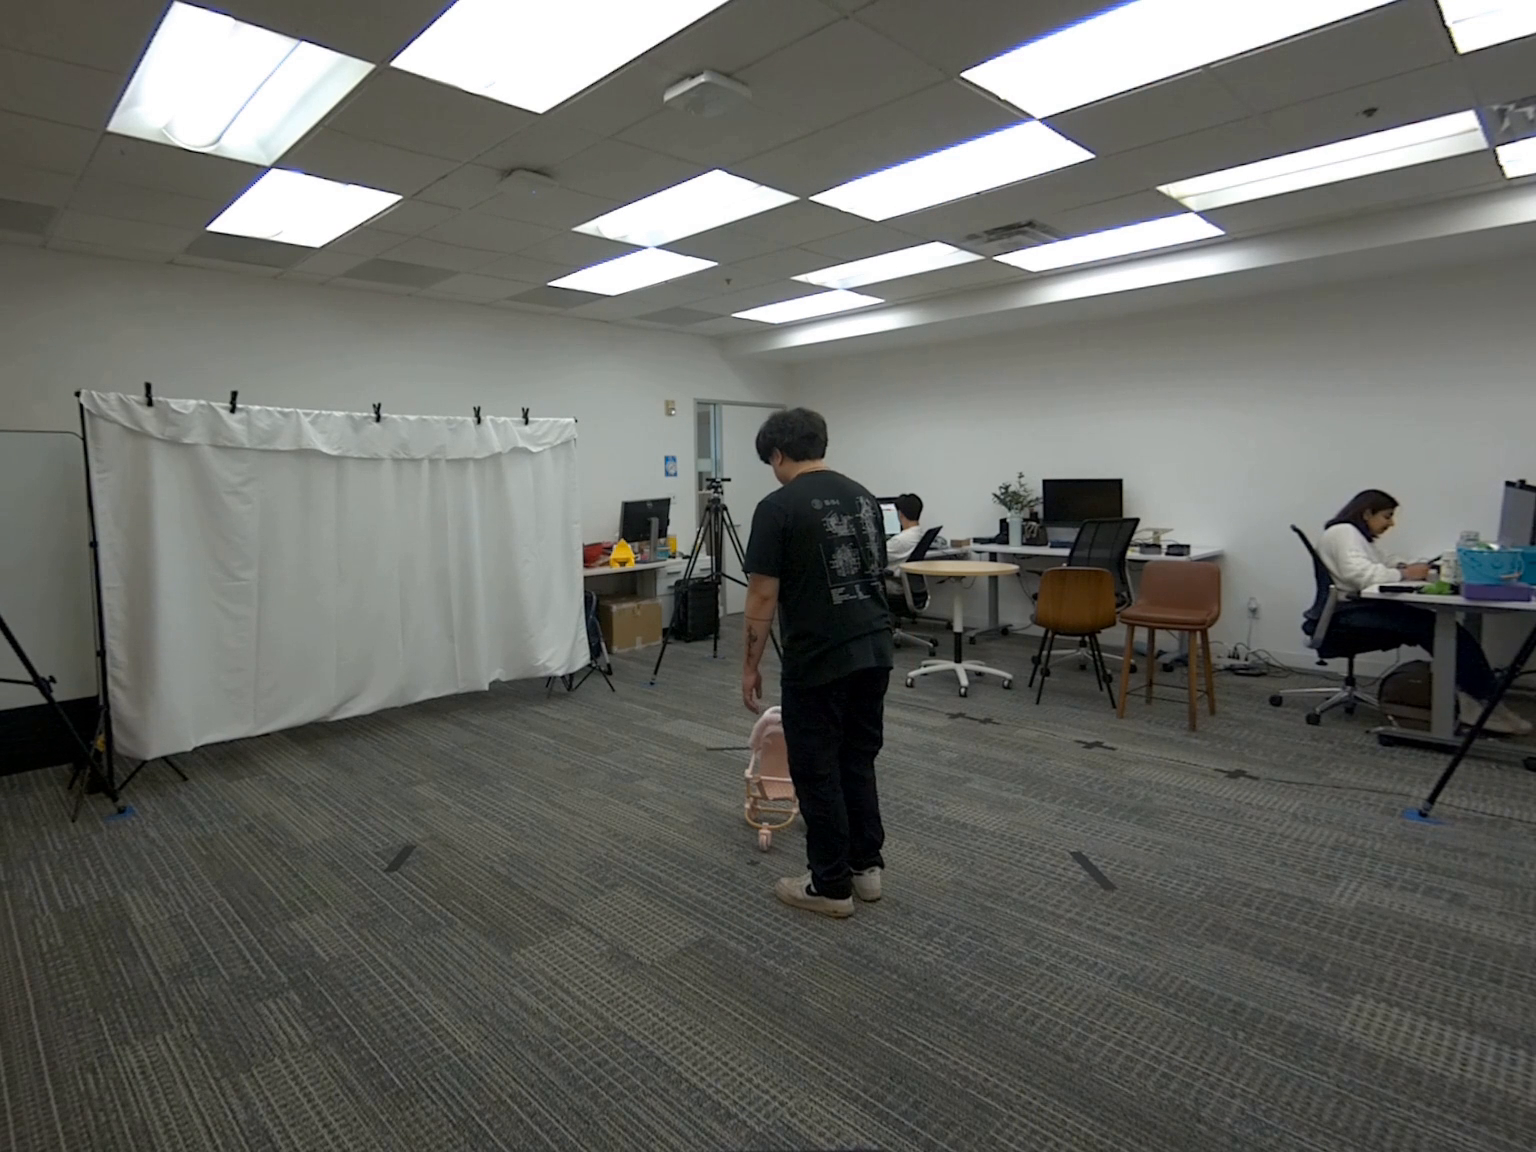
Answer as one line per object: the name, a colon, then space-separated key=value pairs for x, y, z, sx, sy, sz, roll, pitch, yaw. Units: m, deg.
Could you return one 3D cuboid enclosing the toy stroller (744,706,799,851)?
toy stroller: x=0.030 y=0.787 z=3.378 sx=0.287 sy=0.540 sz=0.332 roll=0 pitch=-11 yaw=20
